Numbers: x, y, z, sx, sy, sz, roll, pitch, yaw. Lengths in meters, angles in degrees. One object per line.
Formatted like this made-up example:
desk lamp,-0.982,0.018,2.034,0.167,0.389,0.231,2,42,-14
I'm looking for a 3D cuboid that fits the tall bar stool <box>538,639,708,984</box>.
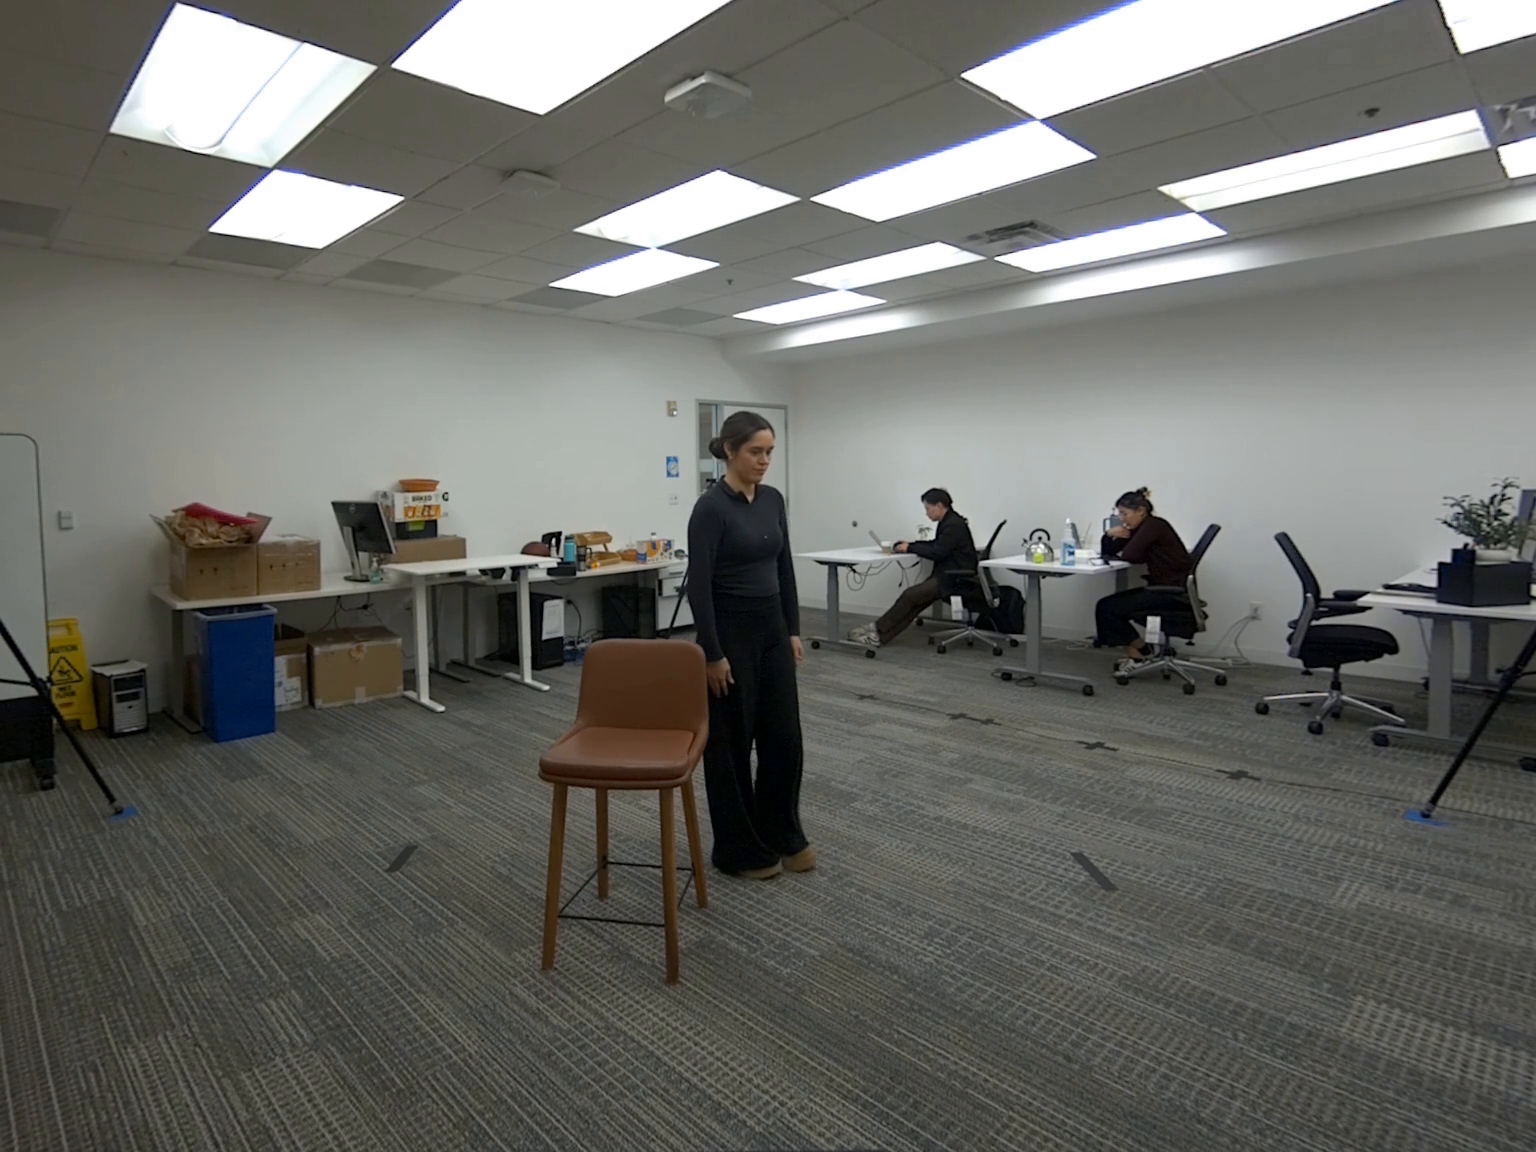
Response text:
tall bar stool,-0.421,0.676,2.608,0.462,0.888,0.463,0,3,11
